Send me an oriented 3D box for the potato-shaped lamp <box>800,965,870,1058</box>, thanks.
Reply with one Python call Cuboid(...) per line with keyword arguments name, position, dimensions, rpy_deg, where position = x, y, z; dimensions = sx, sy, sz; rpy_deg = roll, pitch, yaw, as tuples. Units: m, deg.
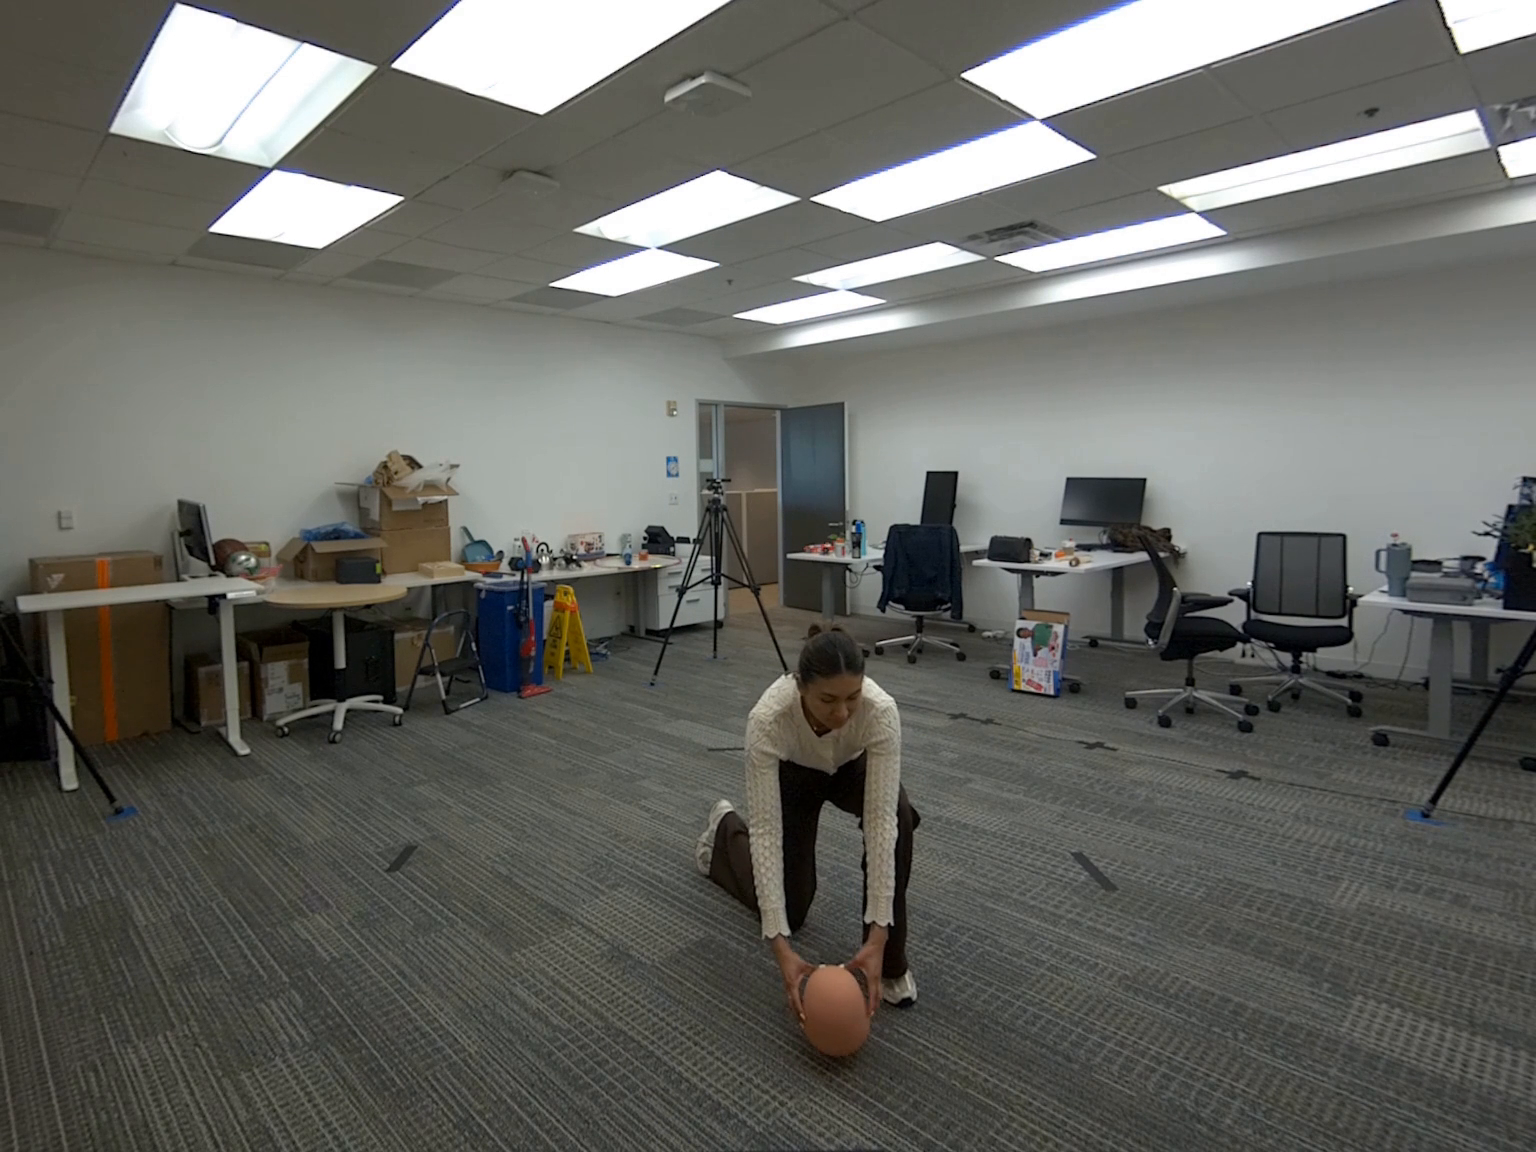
Cuboid(name="potato-shaped lamp", position=(0.163, 1.028, 2.047), dimensions=(0.176, 0.194, 0.163), rpy_deg=(2, 28, 46))
